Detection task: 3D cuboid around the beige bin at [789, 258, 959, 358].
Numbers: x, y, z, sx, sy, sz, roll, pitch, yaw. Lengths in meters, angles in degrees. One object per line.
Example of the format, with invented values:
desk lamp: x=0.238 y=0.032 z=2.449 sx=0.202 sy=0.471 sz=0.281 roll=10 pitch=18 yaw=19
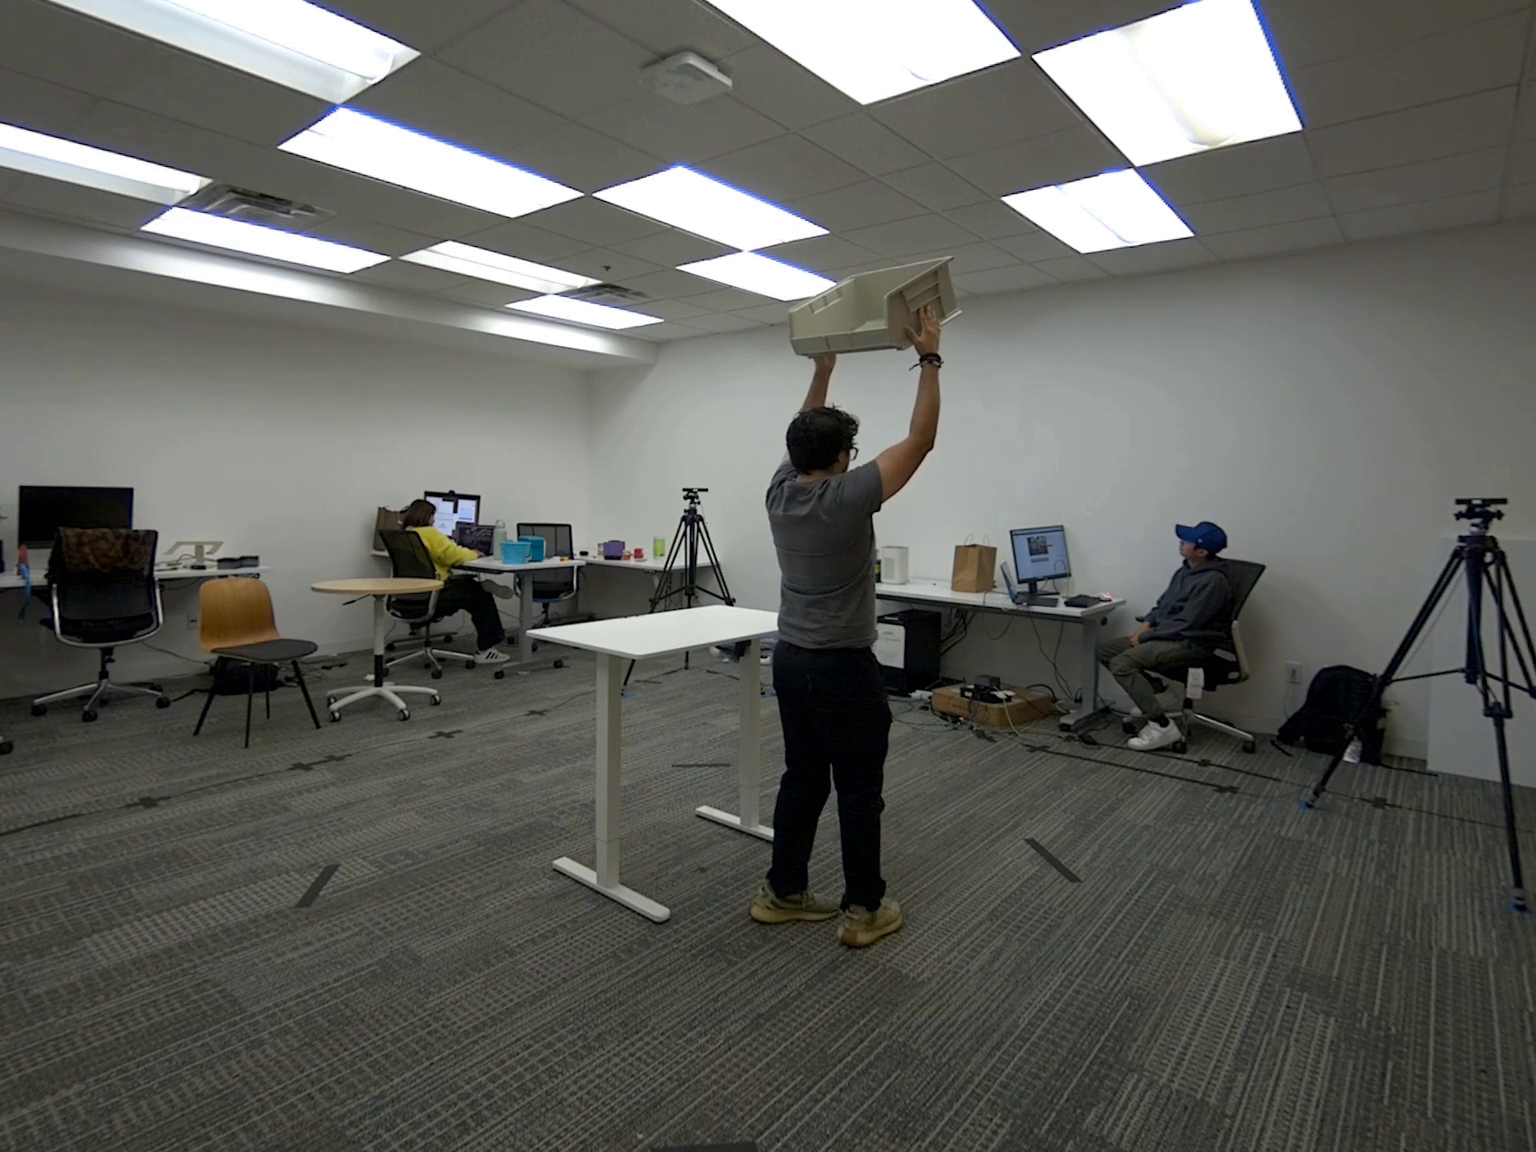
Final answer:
beige bin: x=0.333 y=-0.854 z=2.746 sx=0.374 sy=0.184 sz=0.437 roll=-36 pitch=28 yaw=-31
